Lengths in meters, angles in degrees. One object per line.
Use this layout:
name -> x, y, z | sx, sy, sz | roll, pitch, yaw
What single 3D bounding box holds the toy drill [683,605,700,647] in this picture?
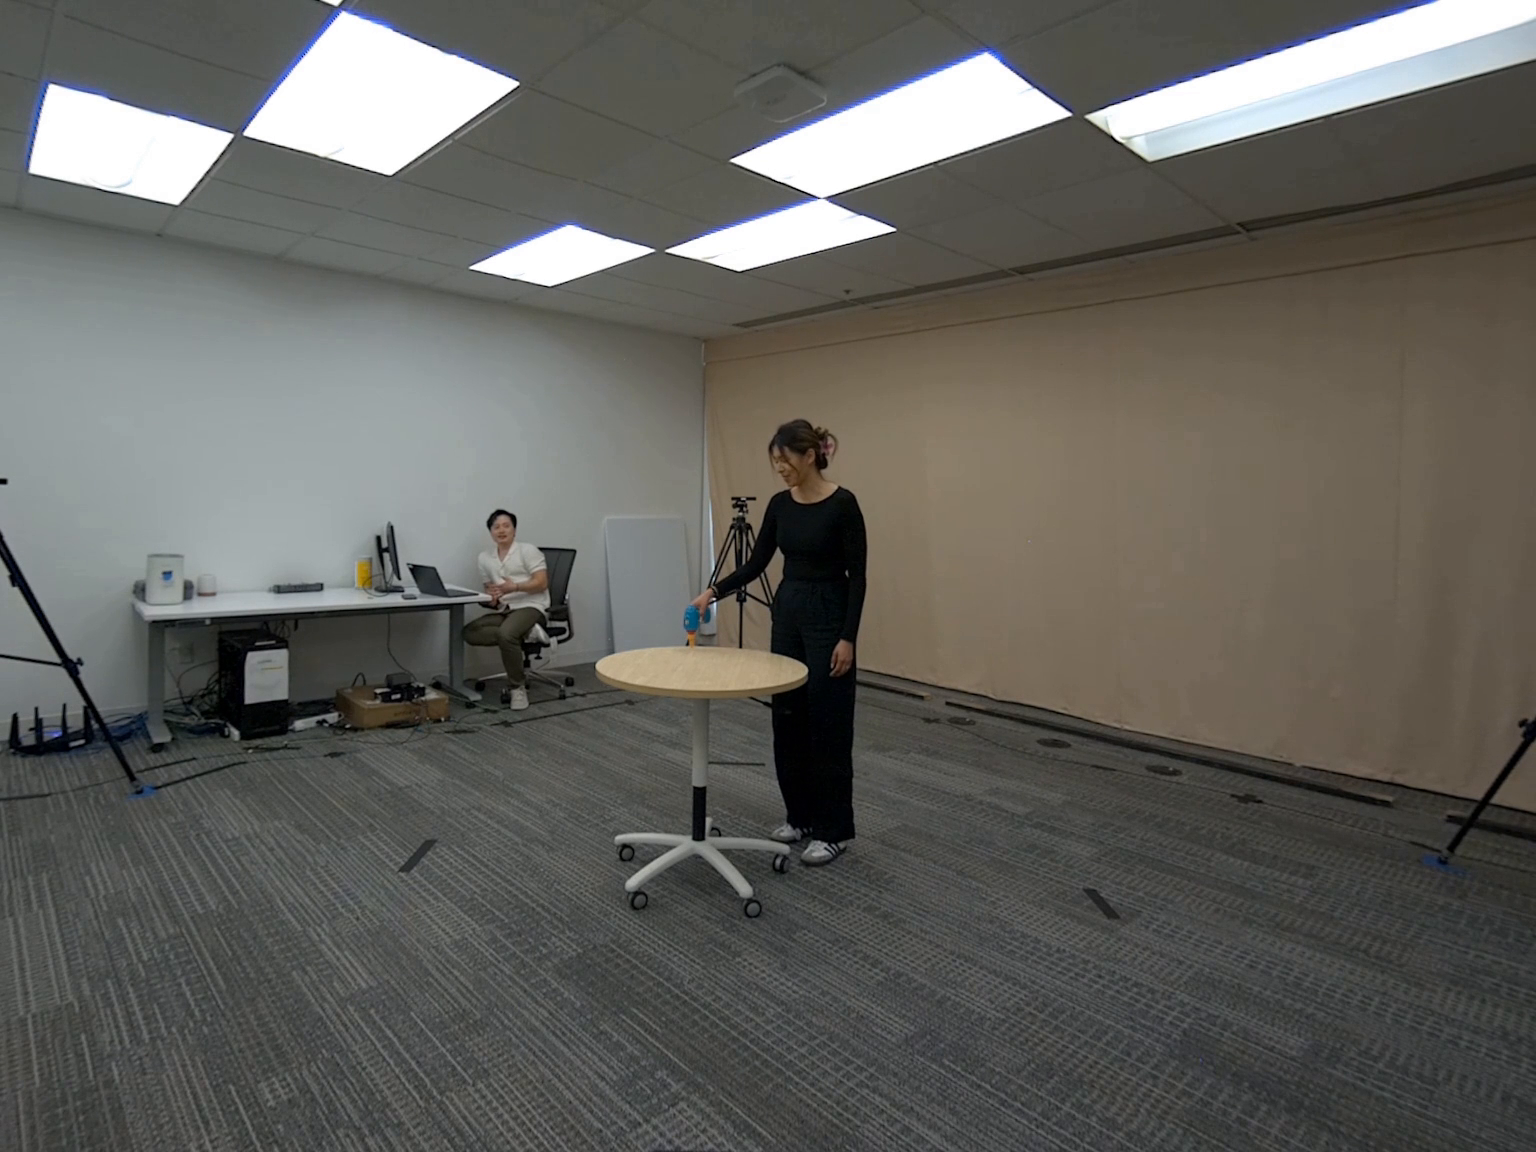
toy drill -> -0.299, 0.194, 3.356 | 0.062, 0.170, 0.143 | 0, 2, 26
